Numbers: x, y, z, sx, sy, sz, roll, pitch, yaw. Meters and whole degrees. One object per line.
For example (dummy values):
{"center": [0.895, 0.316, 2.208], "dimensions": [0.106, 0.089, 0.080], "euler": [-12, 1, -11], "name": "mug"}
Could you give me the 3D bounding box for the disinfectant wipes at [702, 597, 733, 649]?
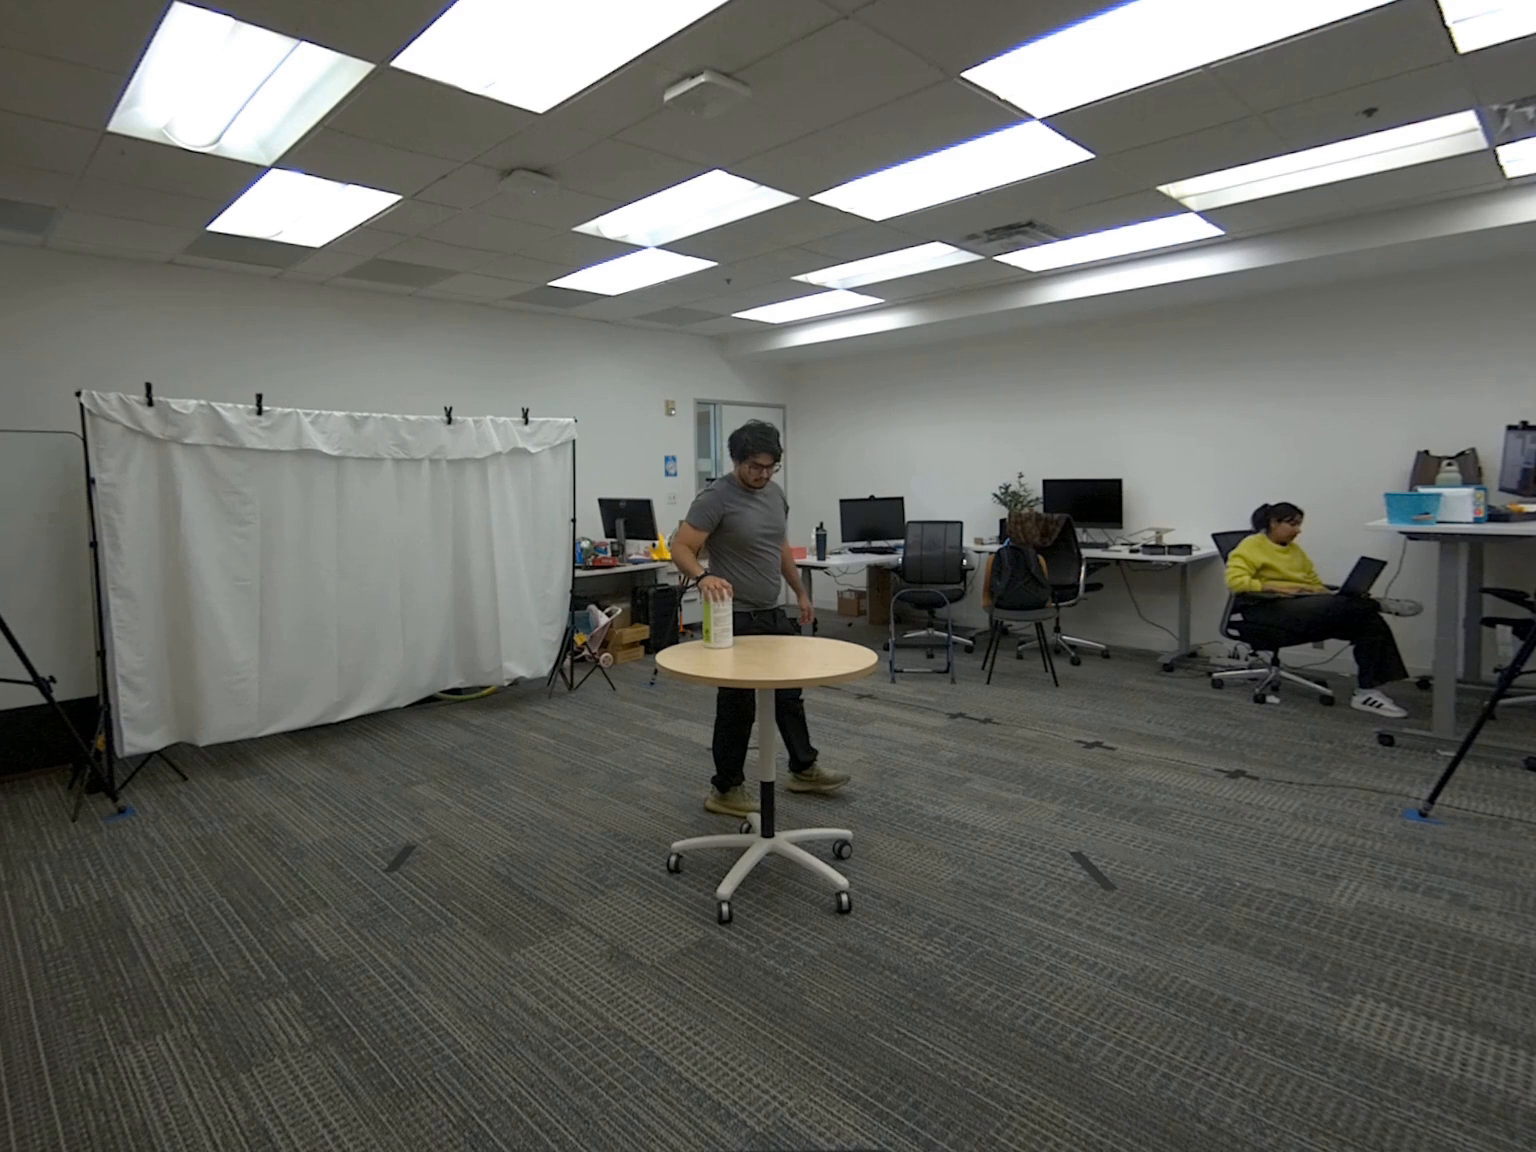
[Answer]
{"center": [-0.183, 0.156, 3.137], "dimensions": [0.118, 0.217, 0.118], "euler": [-3, 1, -2], "name": "disinfectant wipes"}
